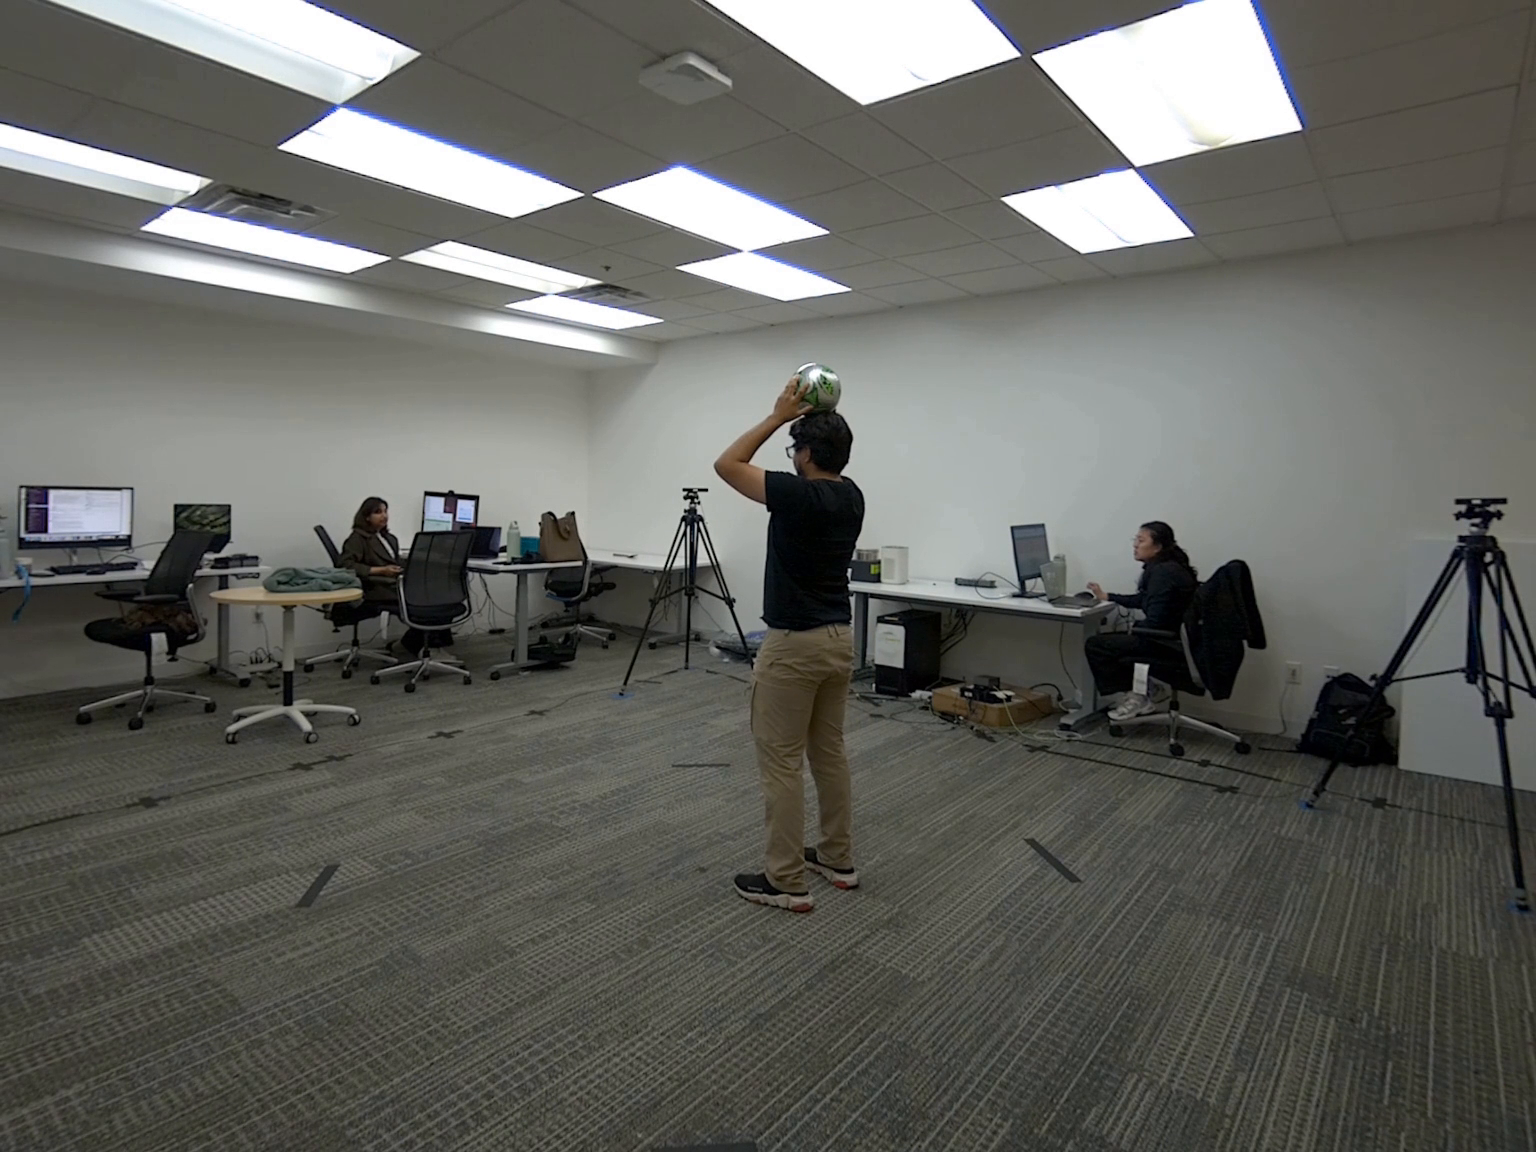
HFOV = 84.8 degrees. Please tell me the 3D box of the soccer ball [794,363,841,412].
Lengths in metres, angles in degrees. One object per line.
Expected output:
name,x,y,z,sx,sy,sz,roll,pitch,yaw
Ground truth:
soccer ball,0.157,-0.651,2.984,0.187,0.187,0.188,1,4,-2
